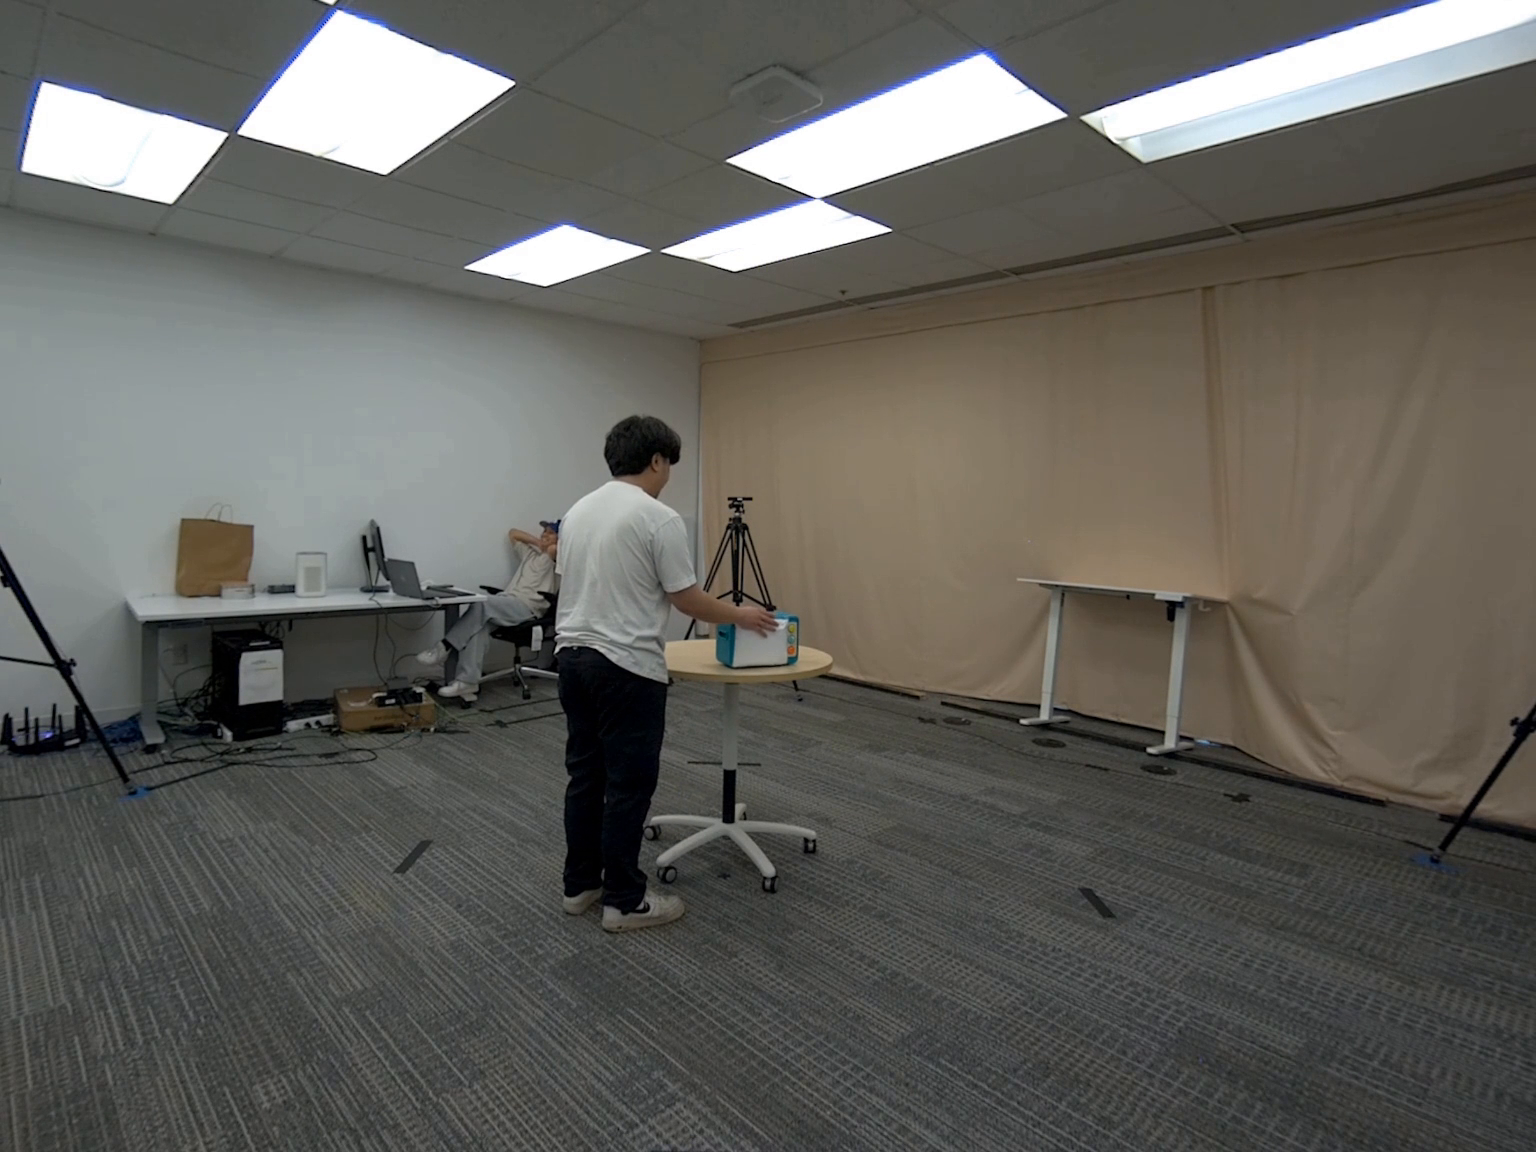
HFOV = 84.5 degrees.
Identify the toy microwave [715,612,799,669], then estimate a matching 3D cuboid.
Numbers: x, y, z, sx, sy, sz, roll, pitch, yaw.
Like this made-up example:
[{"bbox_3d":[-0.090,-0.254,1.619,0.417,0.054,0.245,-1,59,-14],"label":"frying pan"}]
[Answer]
[{"bbox_3d":[-0.040,0.231,3.041,0.281,0.184,0.155,0,4,-25],"label":"toy microwave"}]
